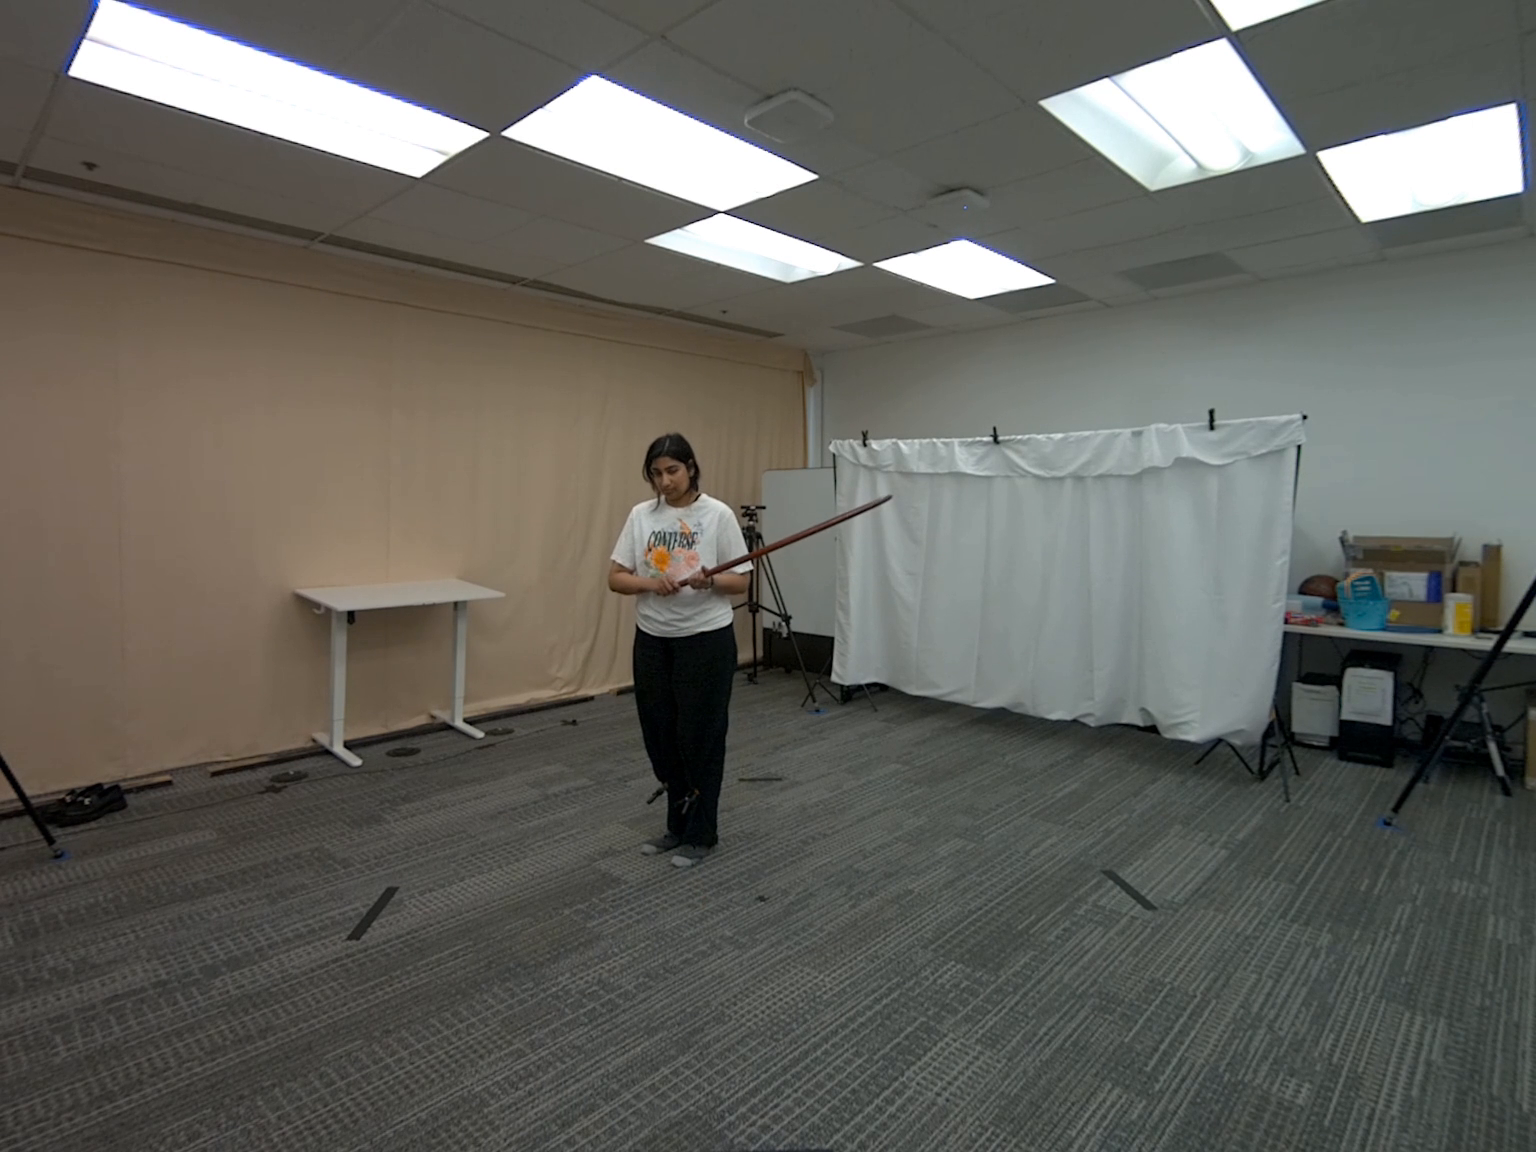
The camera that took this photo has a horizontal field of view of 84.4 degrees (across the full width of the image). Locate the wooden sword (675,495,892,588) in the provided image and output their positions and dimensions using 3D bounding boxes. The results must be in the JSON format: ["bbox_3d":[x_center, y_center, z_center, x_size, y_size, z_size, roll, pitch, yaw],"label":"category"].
[{"bbox_3d":[-0.006,-0.076,2.876,1.045,0.052,0.023,-24,-24,34],"label":"wooden sword"}]
